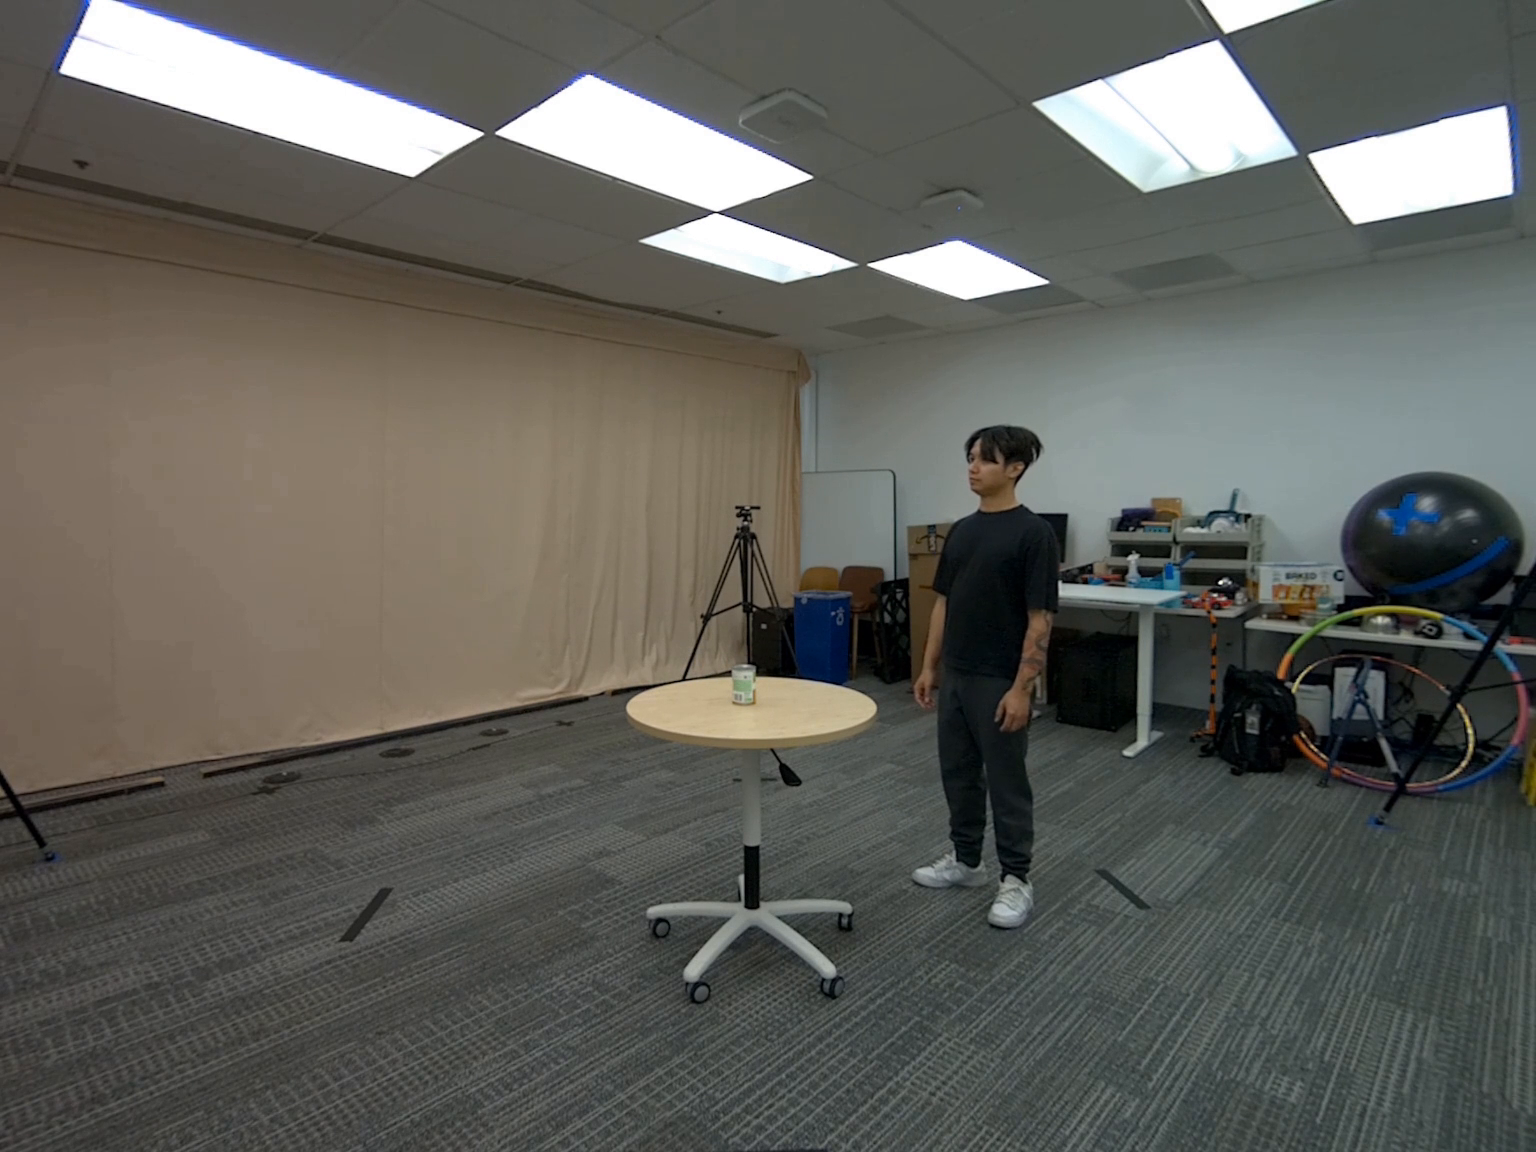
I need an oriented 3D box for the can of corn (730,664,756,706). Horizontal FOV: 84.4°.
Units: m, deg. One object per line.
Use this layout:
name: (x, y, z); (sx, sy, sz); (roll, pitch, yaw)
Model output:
can of corn: (-0.066, 0.342, 2.601); (0.074, 0.110, 0.074); (-1, 6, -2)
